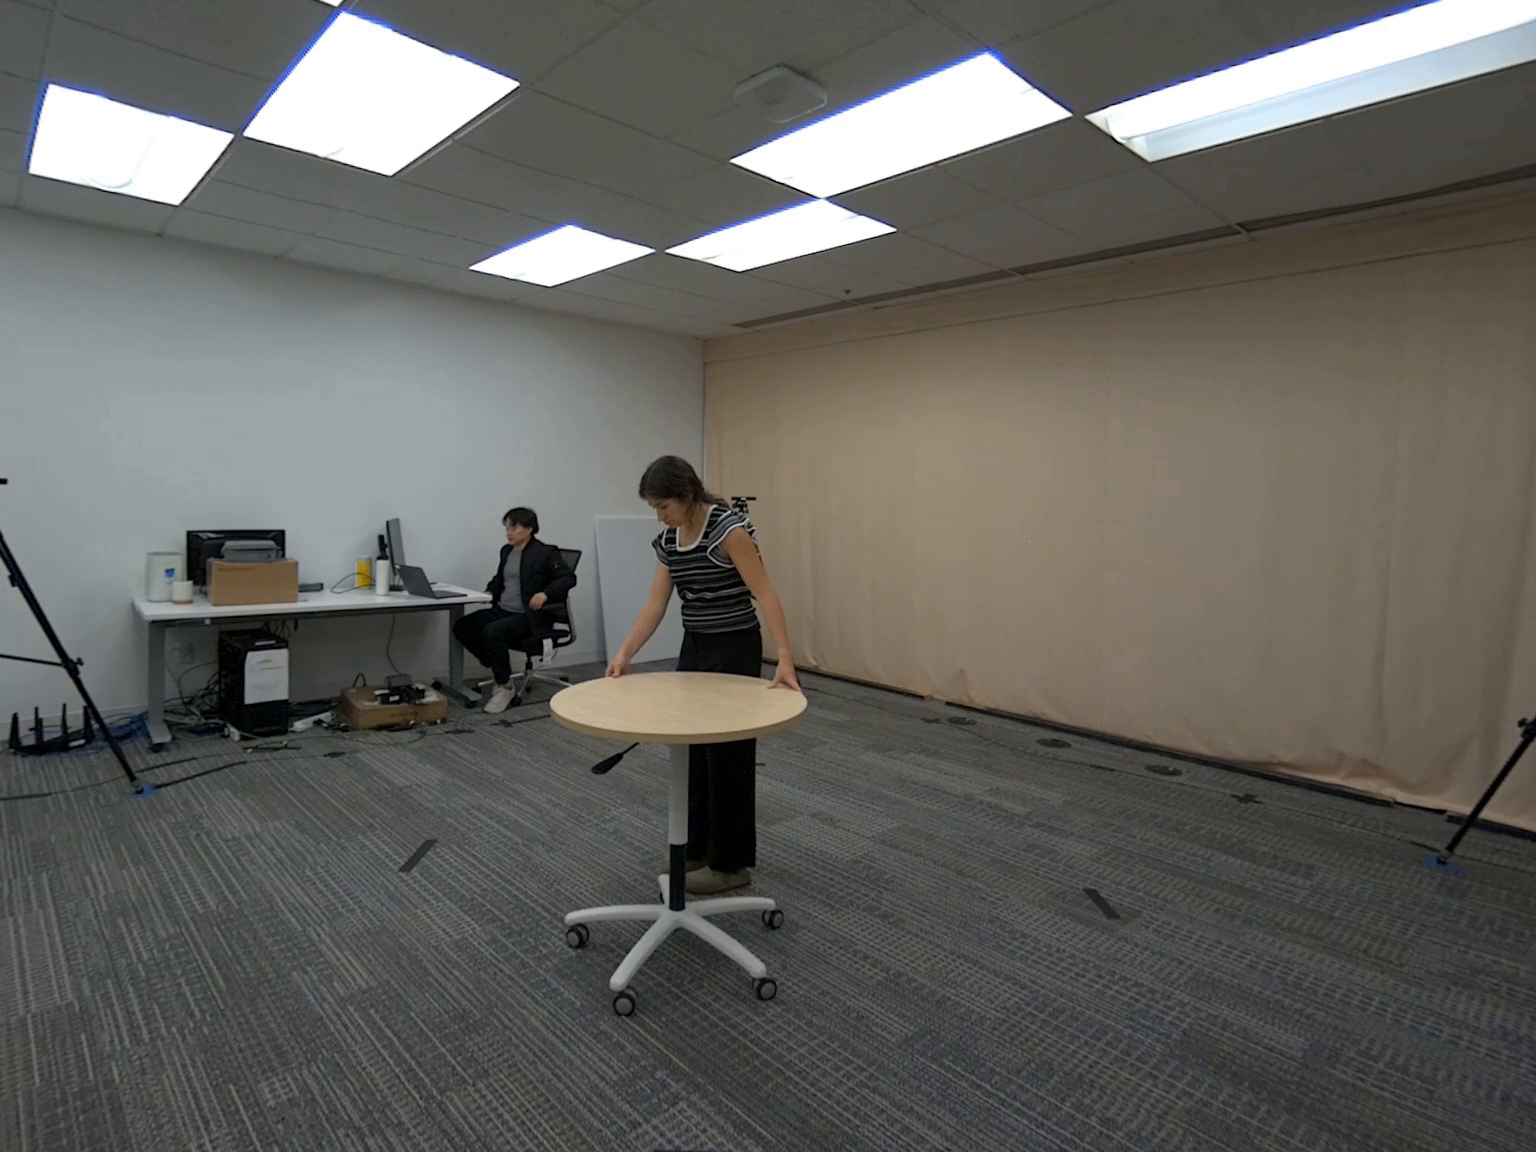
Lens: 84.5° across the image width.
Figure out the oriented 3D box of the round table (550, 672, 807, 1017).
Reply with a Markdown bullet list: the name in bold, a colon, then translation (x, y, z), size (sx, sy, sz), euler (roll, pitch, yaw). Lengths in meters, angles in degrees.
- **round table**: translation (-0.276, 0.759, 2.563), size (0.784, 0.784, 0.788), euler (1, 4, -1)
